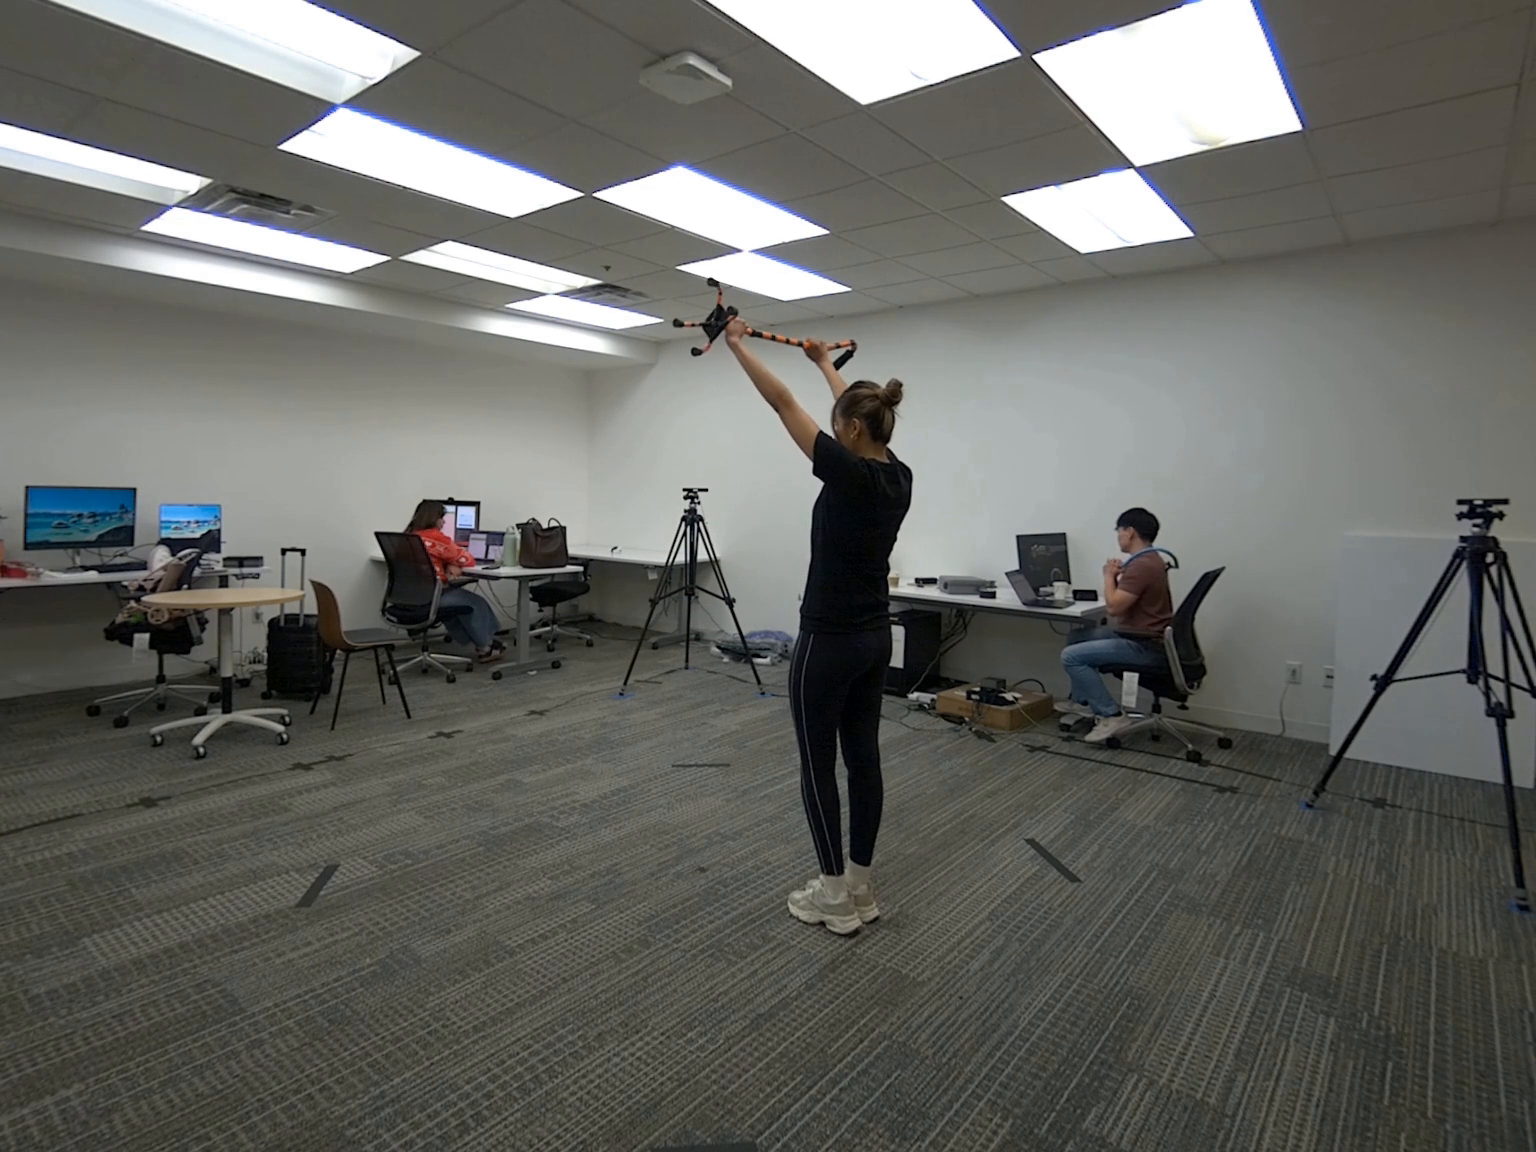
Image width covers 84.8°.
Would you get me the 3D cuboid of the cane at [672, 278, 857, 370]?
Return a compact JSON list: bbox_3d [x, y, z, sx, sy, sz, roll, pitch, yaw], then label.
[{"bbox_3d":[0.048,-0.836,2.966,0.207,0.155,0.883,-41,-19,32],"label":"cane"}]
